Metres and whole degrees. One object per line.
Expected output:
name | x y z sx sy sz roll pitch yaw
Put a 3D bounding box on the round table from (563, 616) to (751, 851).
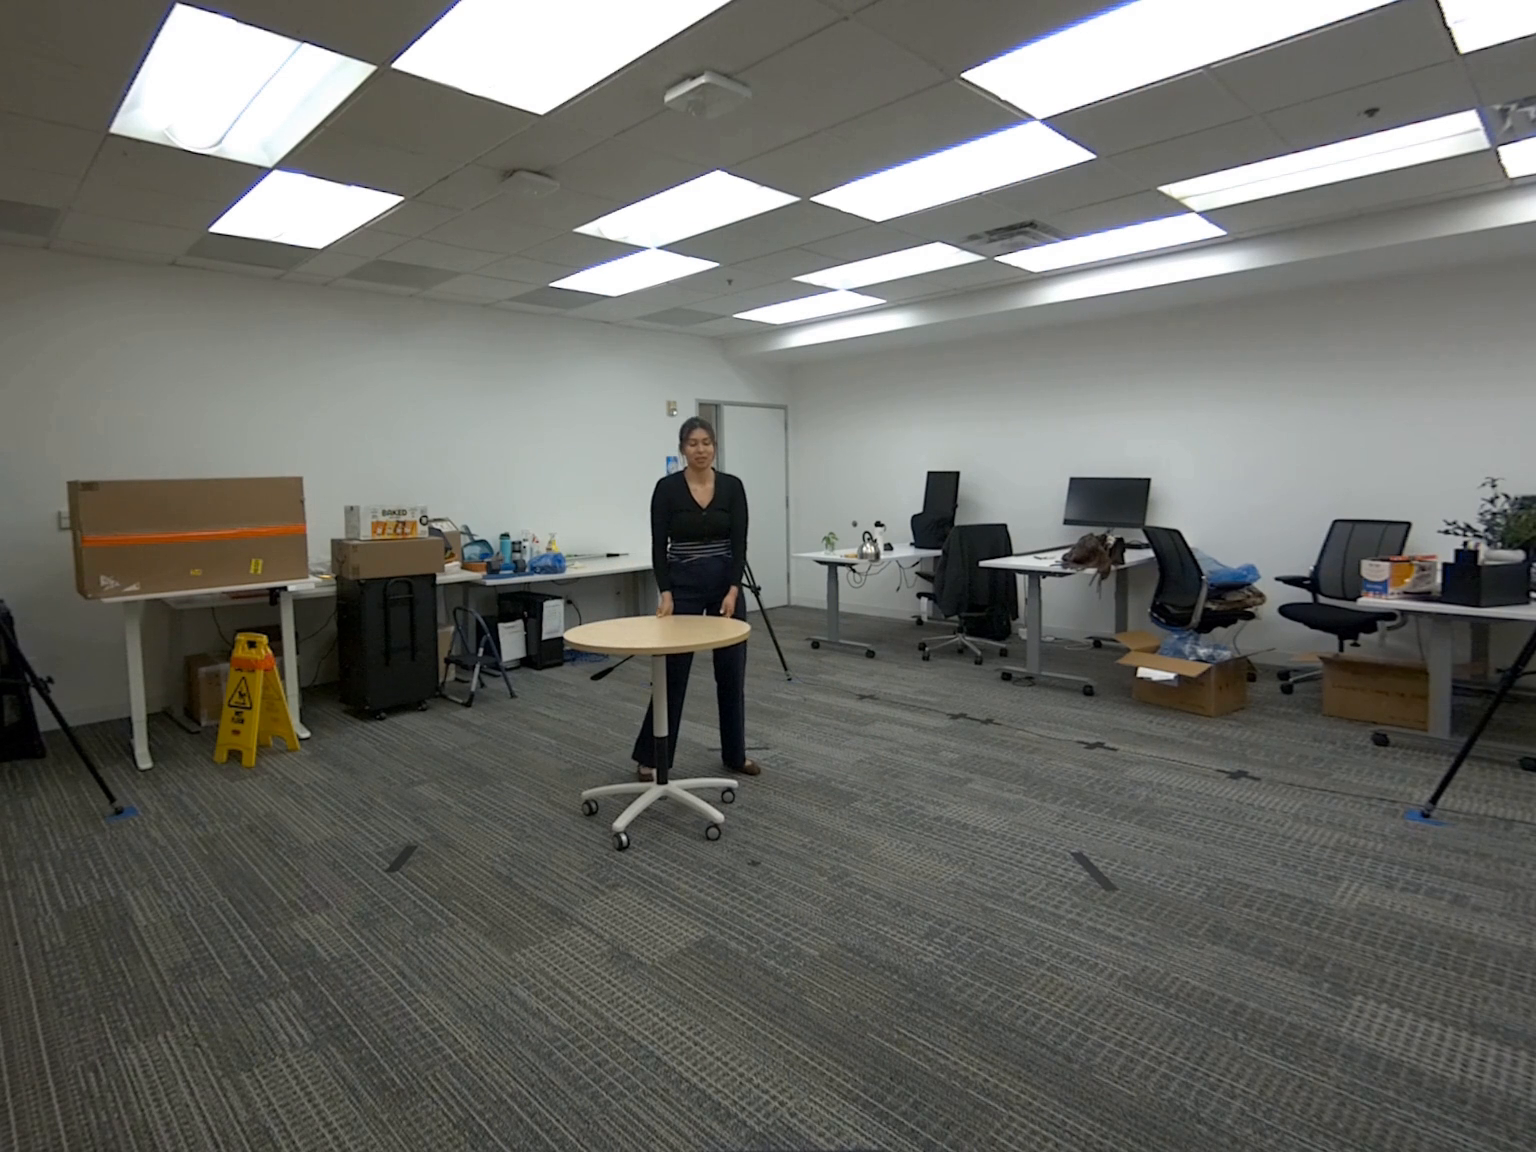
round table | -0.452 0.618 3.532 0.763 0.791 0.767 -2 4 -2
